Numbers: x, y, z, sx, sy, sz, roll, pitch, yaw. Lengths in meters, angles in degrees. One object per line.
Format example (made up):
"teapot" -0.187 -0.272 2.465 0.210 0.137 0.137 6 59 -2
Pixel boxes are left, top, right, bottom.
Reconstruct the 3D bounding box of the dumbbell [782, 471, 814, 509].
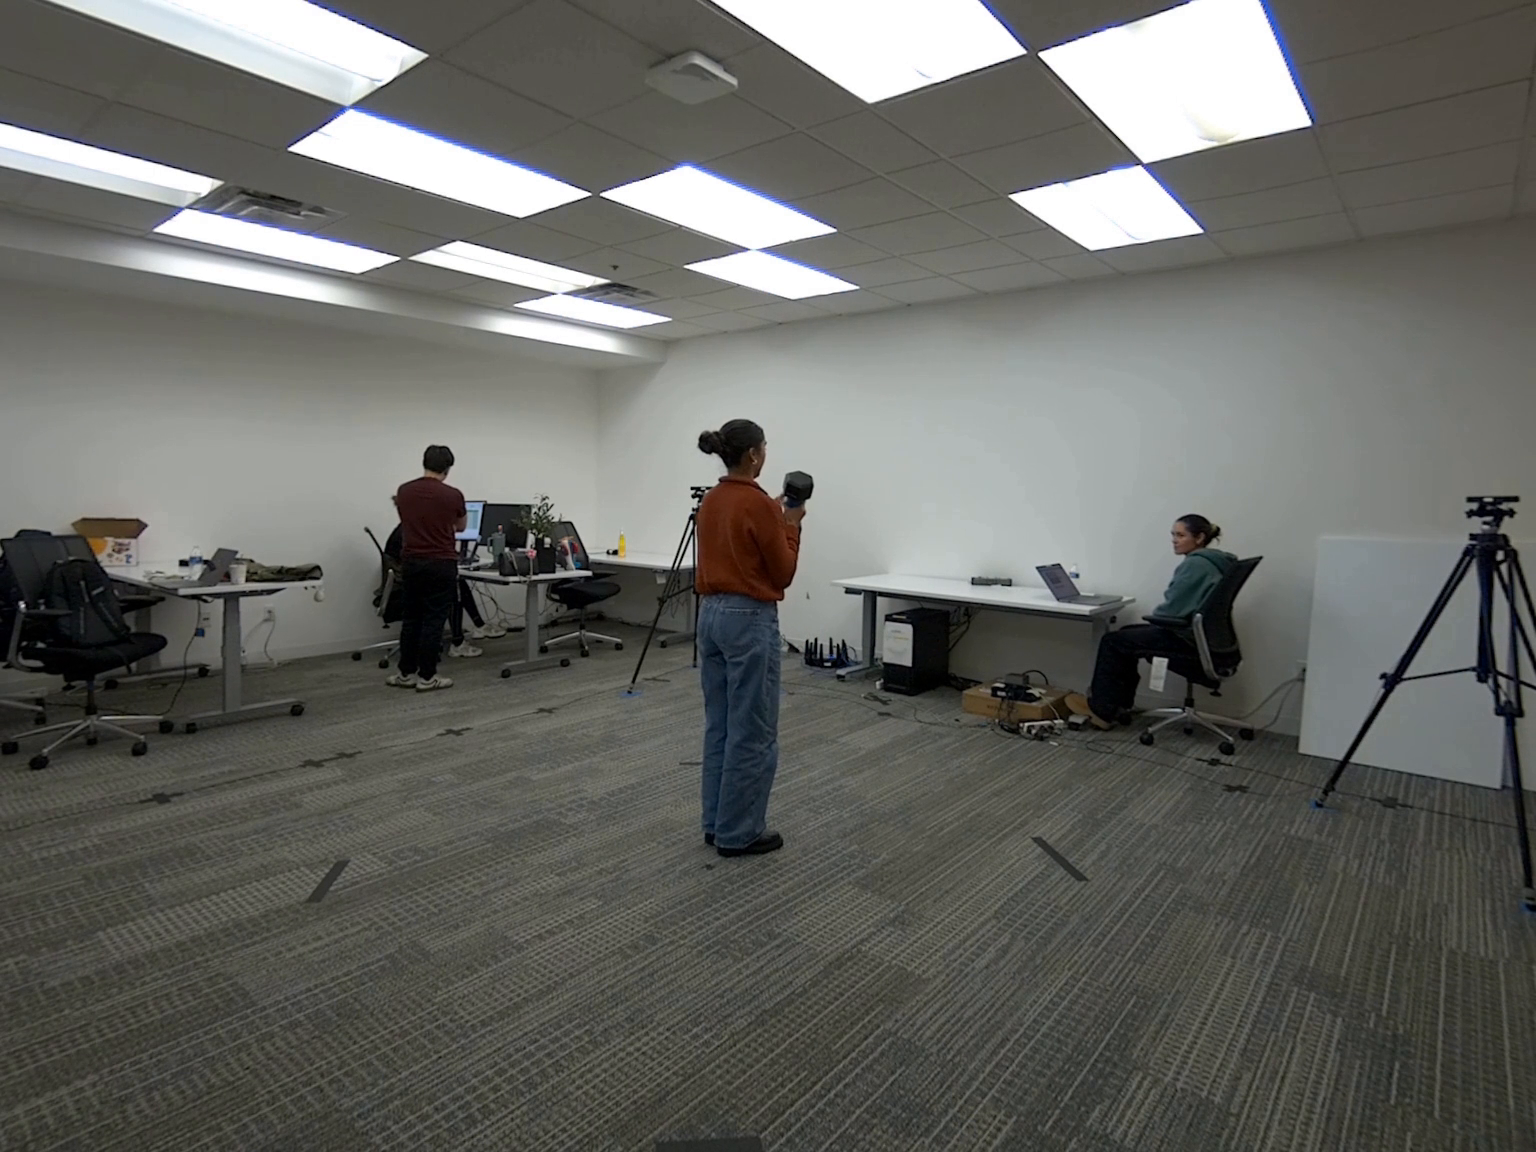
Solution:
"dumbbell" 0.083 -0.270 3.348 0.120 0.287 0.113 -10 42 -27
